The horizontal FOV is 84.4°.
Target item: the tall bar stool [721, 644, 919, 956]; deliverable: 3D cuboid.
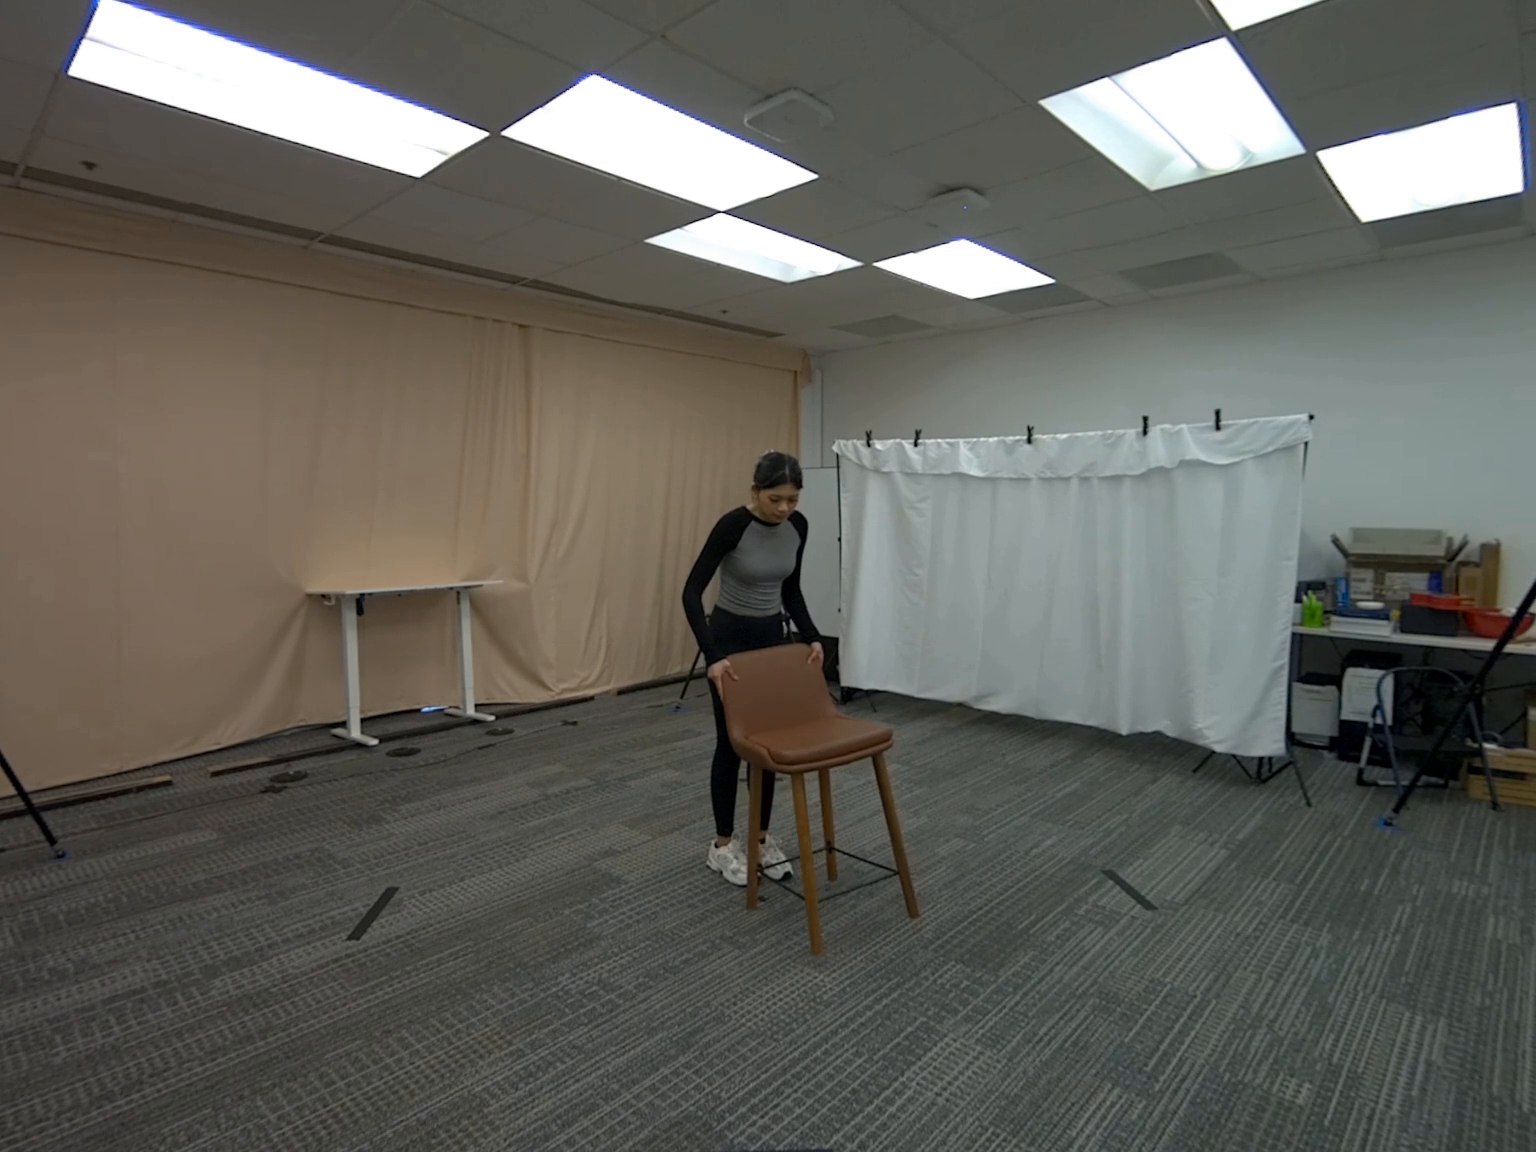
[{"bbox_3d":[0.158,0.695,2.816,0.445,0.891,0.479,-6,-2,-30],"label":"tall bar stool"}]
